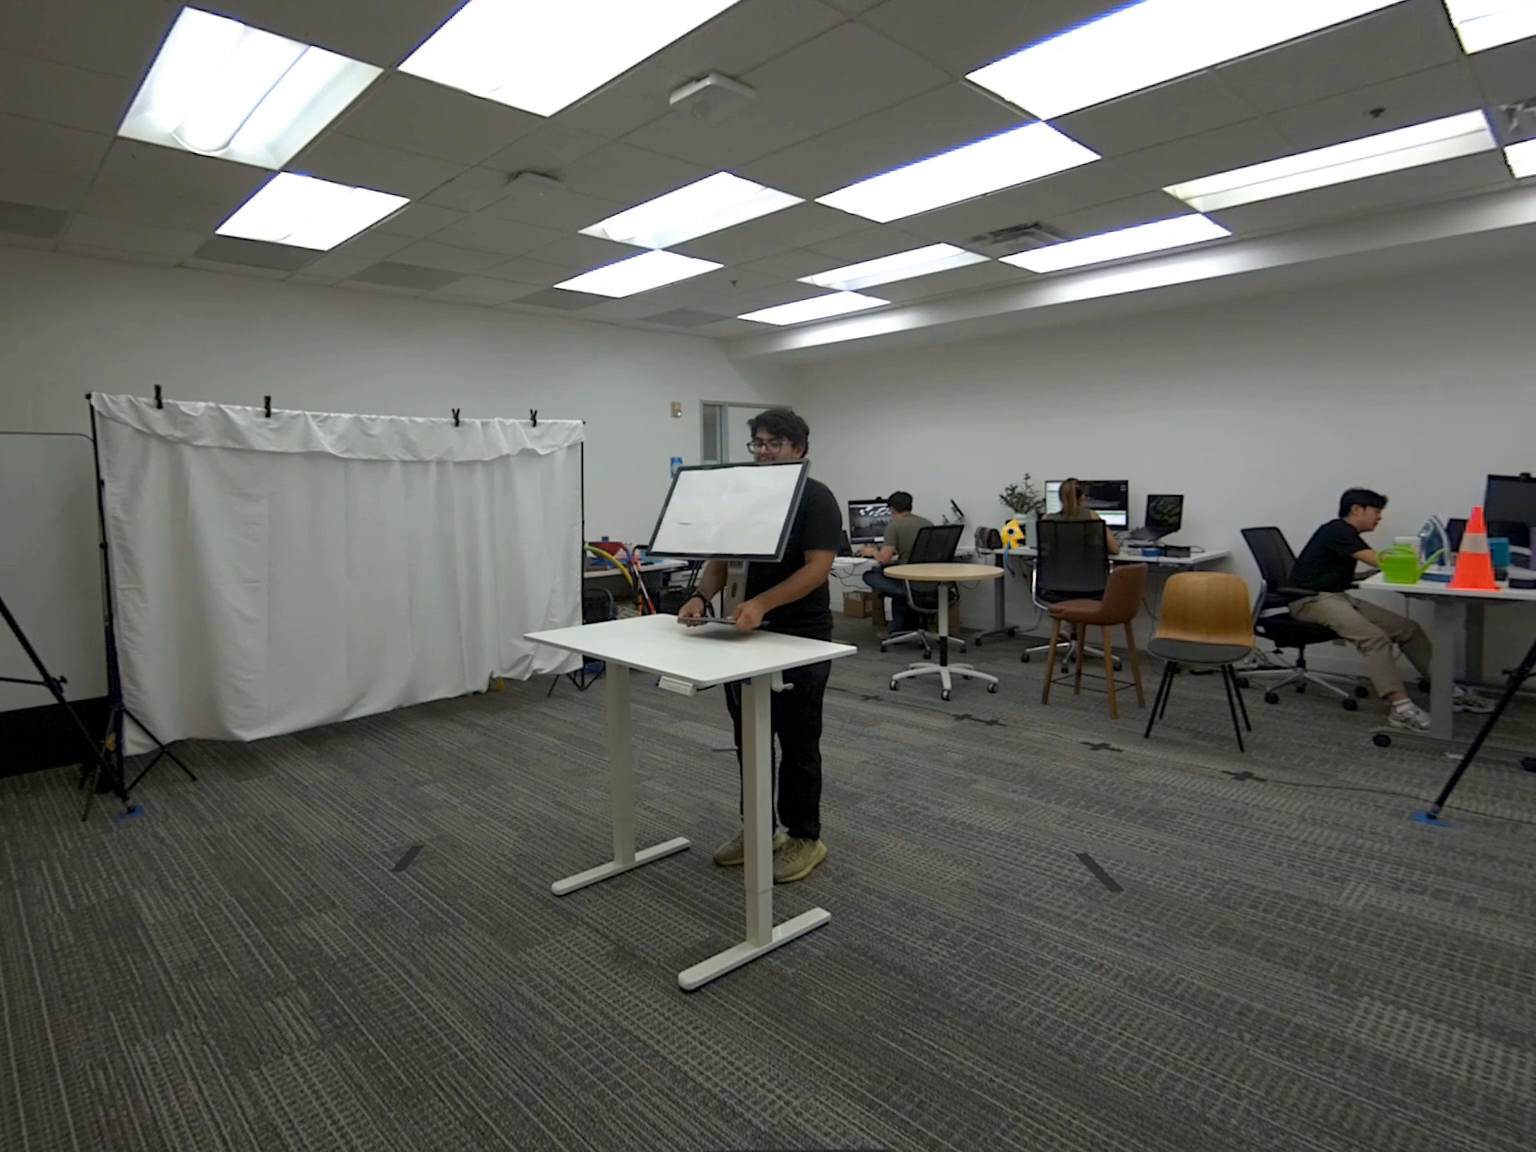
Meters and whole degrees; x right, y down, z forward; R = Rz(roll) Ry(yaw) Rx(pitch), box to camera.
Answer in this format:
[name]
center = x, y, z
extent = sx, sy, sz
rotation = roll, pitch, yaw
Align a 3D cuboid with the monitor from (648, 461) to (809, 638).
[monitor]
center = -0.120, -0.108, 2.866
extent = 0.582, 0.560, 0.202
rotation = 2, -20, 37
